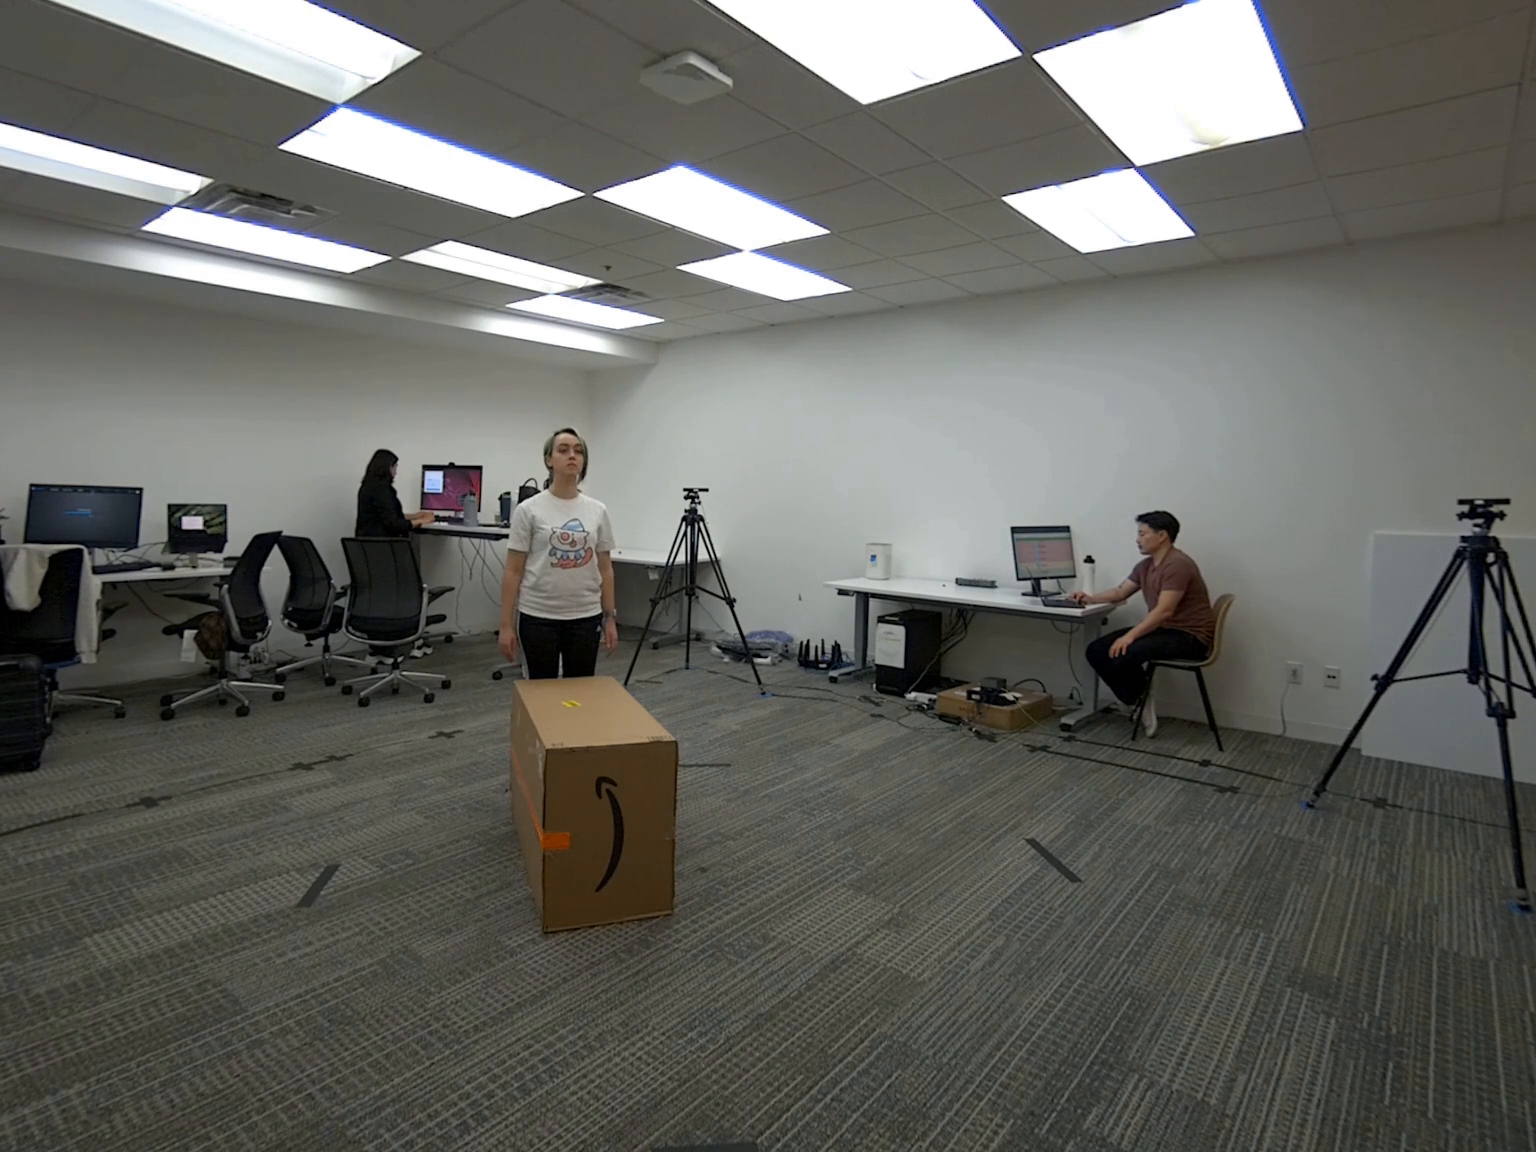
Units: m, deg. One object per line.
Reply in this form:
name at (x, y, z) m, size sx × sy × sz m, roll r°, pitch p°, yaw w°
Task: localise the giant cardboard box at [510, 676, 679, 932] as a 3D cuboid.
giant cardboard box at (-0.701, 0.767, 3.168) m, size 0.437 × 0.582 × 1.052 m, roll -1°, pitch 5°, yaw -22°
